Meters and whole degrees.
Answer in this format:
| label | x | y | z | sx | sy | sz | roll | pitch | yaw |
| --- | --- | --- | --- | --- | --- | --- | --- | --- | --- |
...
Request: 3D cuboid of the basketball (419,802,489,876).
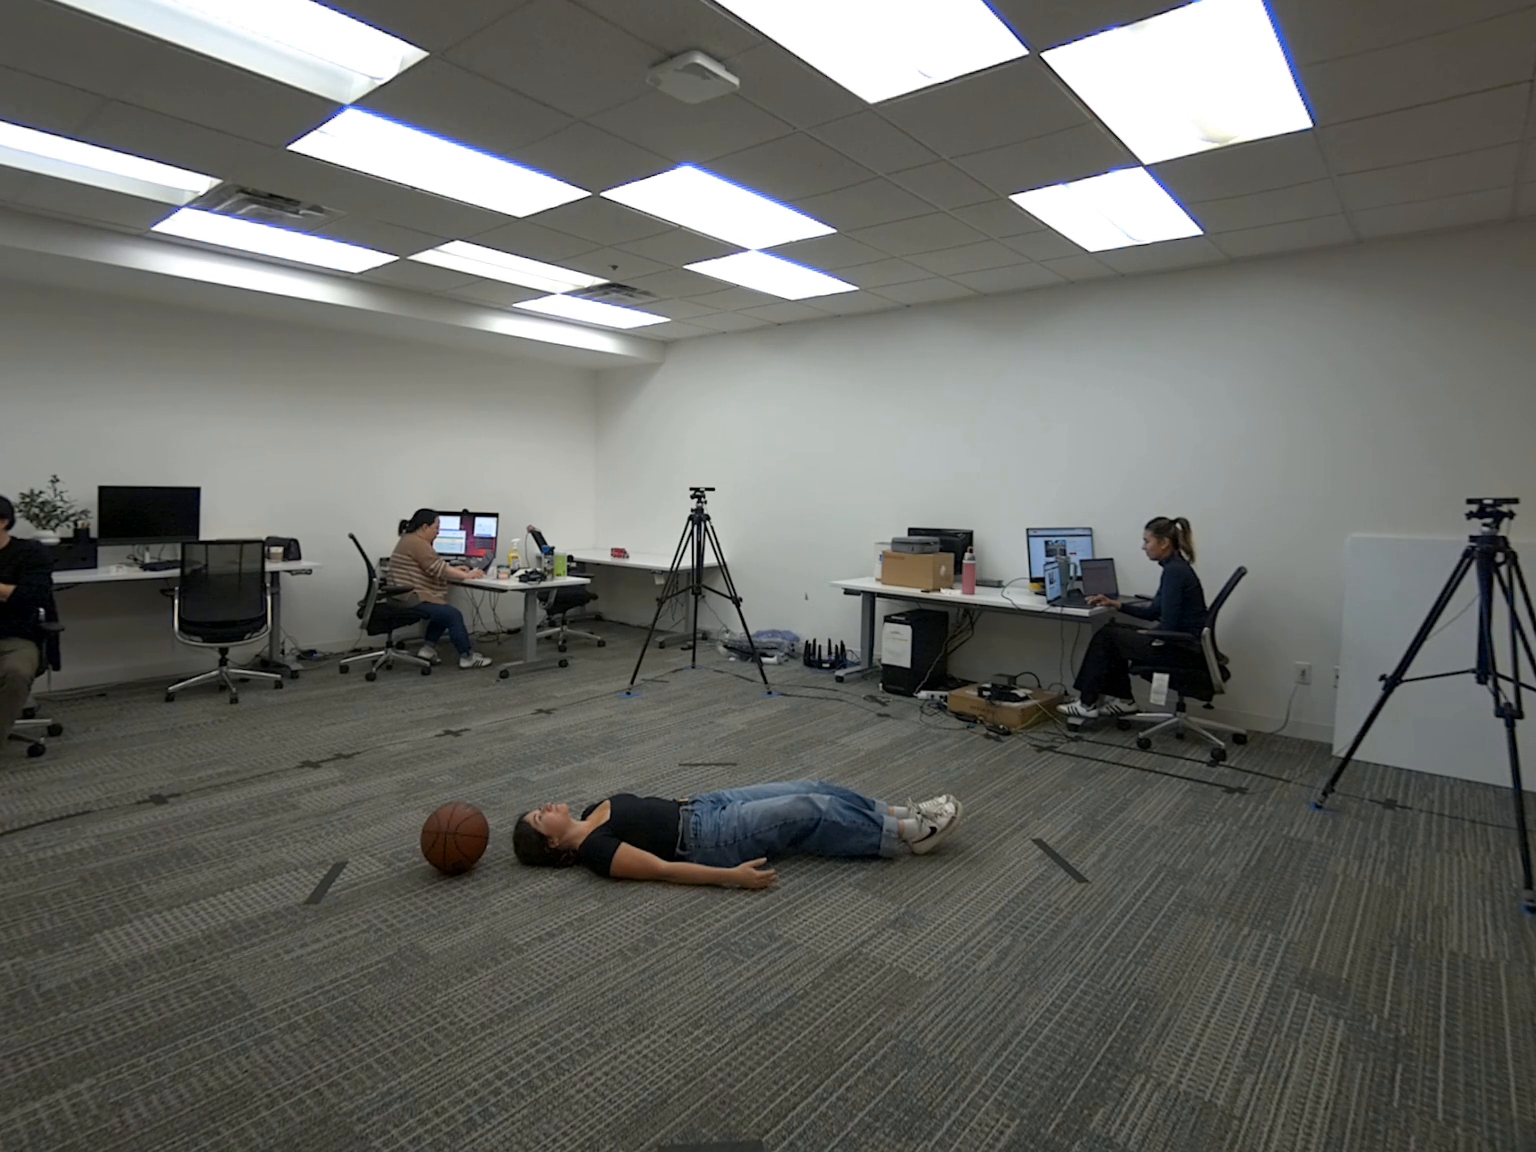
| label | x | y | z | sx | sy | sz | roll | pitch | yaw |
| --- | --- | --- | --- | --- | --- | --- | --- | --- | --- |
| basketball | -1.141 | 0.934 | 3.060 | 0.235 | 0.235 | 0.237 | 1 | 4 | -2 |
